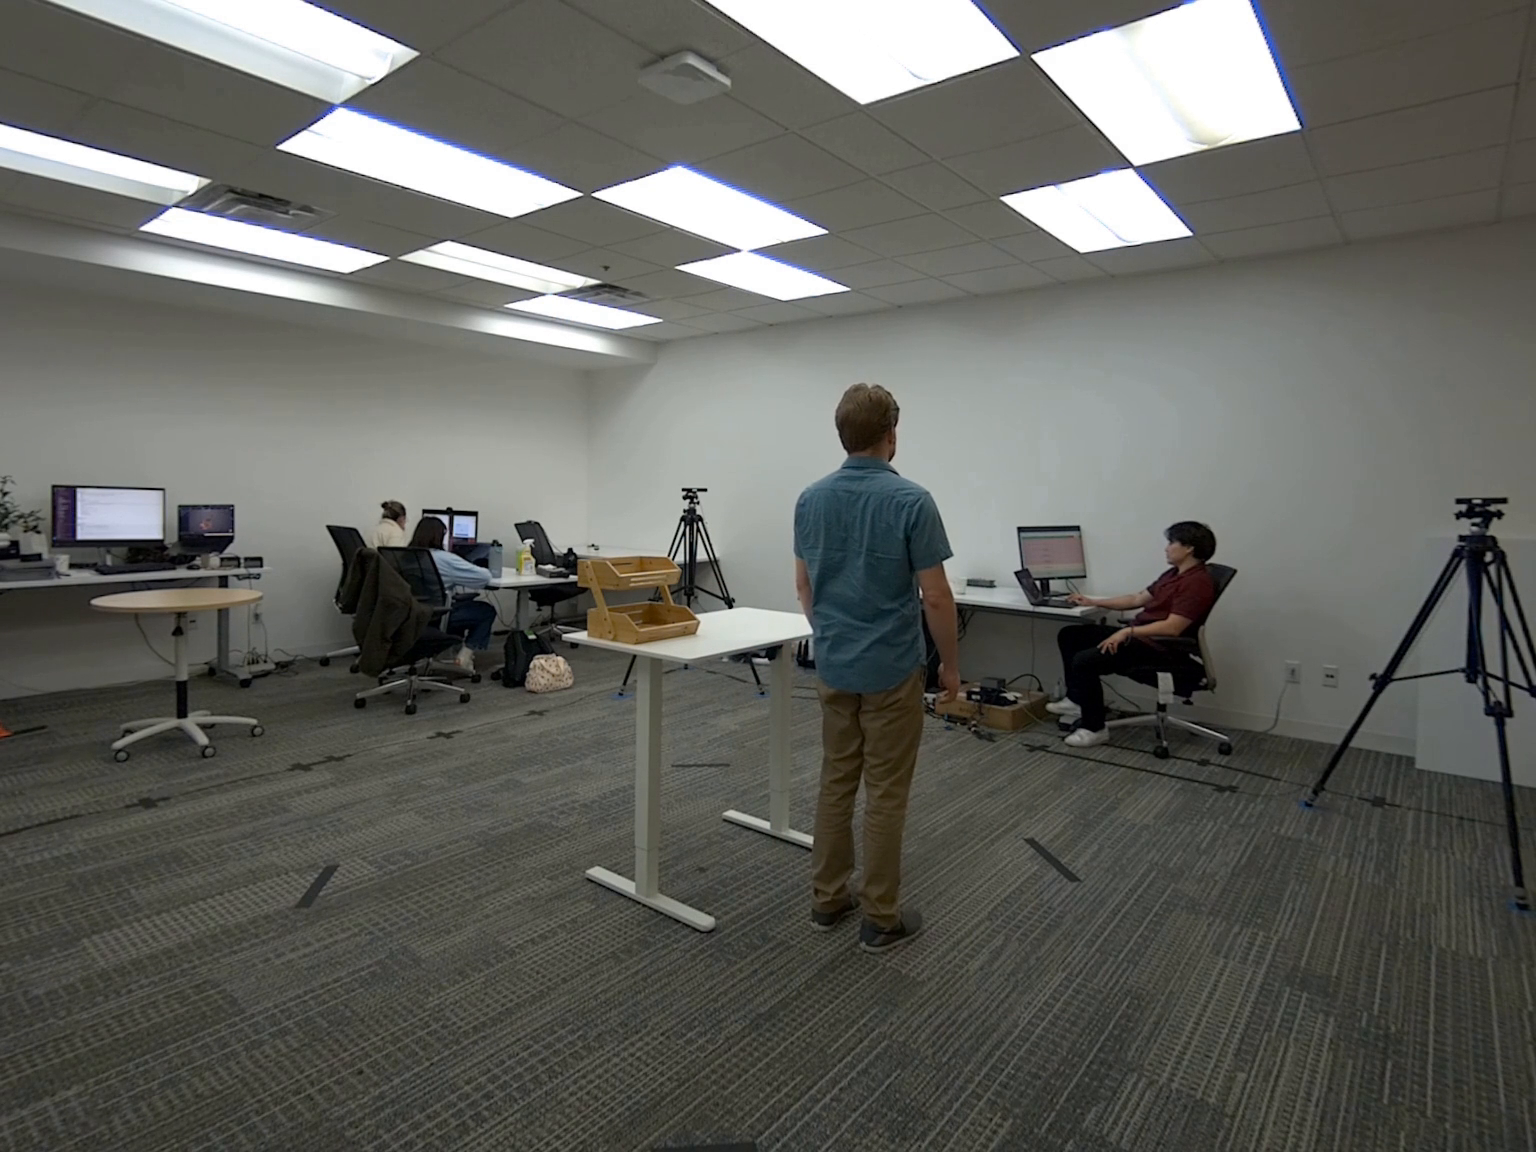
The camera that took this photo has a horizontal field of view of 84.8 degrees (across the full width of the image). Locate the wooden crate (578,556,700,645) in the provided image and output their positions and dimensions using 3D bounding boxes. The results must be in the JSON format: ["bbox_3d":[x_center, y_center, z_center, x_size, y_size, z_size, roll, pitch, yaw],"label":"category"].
[{"bbox_3d":[-0.454,0.068,2.941,0.312,0.272,0.315,3,5,38],"label":"wooden crate"}]
